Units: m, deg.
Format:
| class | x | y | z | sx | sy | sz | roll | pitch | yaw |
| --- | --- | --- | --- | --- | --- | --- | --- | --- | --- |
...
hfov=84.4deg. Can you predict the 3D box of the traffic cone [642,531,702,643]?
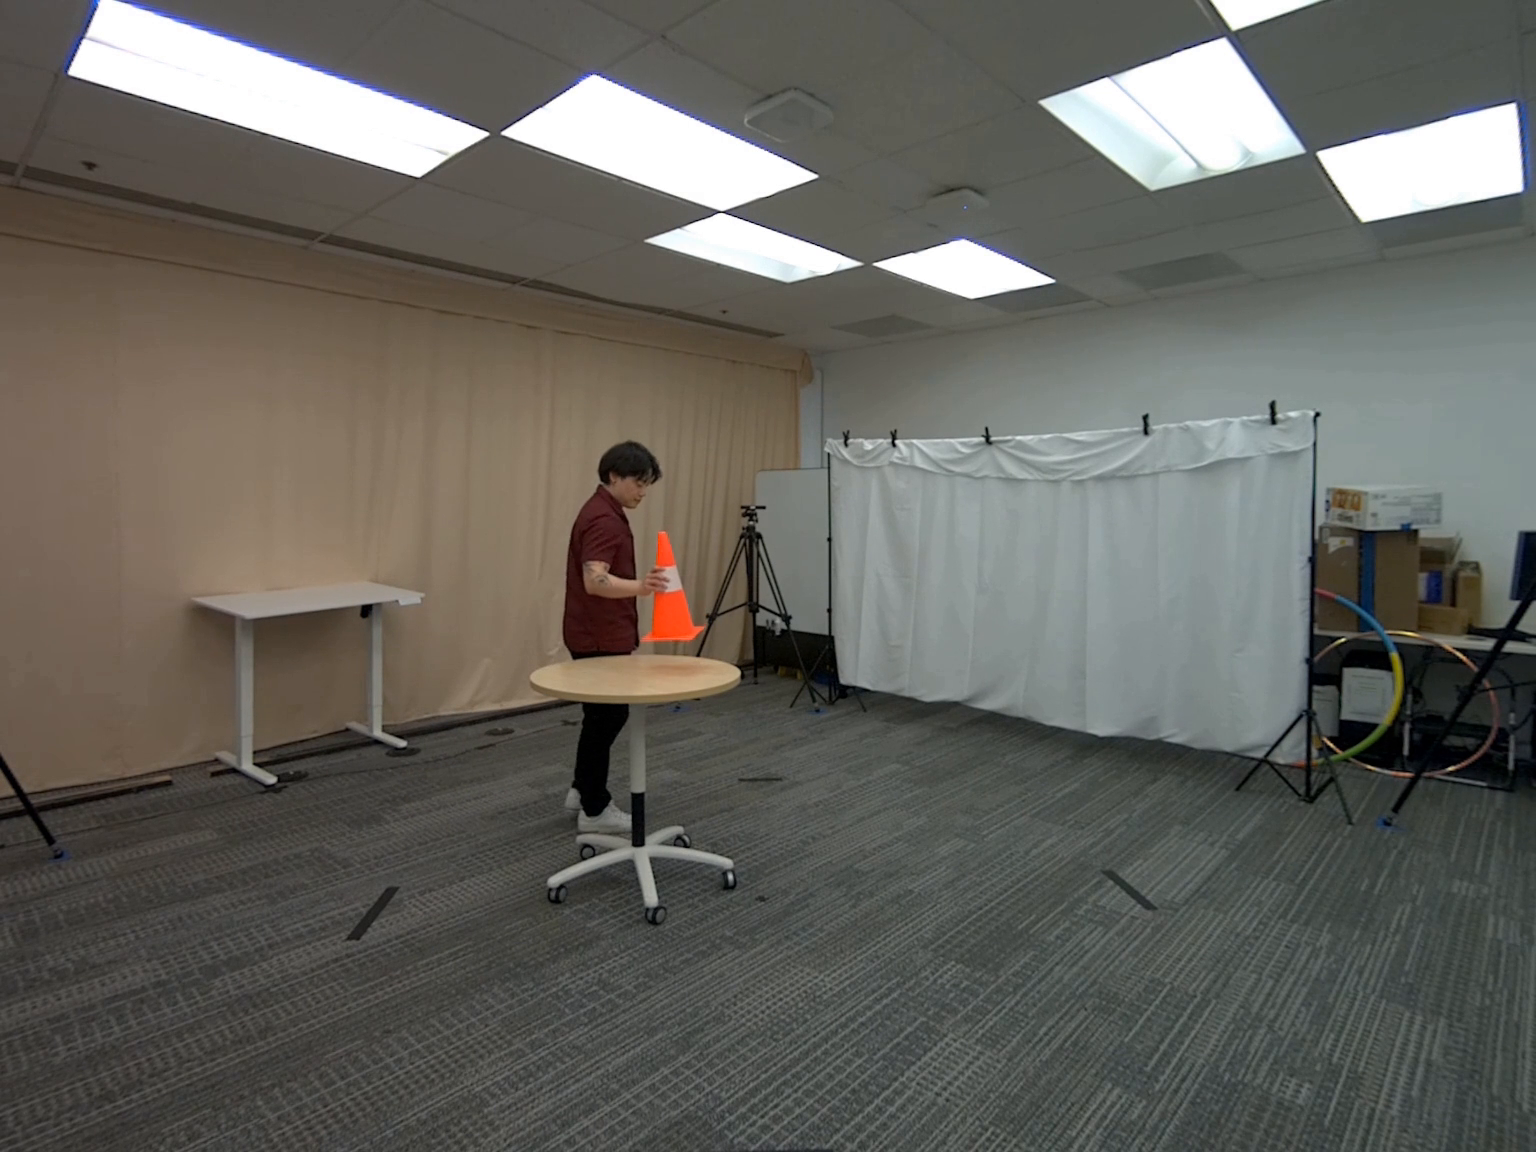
| class | x | y | z | sx | sy | sz | roll | pitch | yaw |
| --- | --- | --- | --- | --- | --- | --- | --- | --- | --- |
| traffic cone | -0.368 | 0.031 | 3.122 | 0.211 | 0.382 | 0.198 | -1 | 6 | 33 |
